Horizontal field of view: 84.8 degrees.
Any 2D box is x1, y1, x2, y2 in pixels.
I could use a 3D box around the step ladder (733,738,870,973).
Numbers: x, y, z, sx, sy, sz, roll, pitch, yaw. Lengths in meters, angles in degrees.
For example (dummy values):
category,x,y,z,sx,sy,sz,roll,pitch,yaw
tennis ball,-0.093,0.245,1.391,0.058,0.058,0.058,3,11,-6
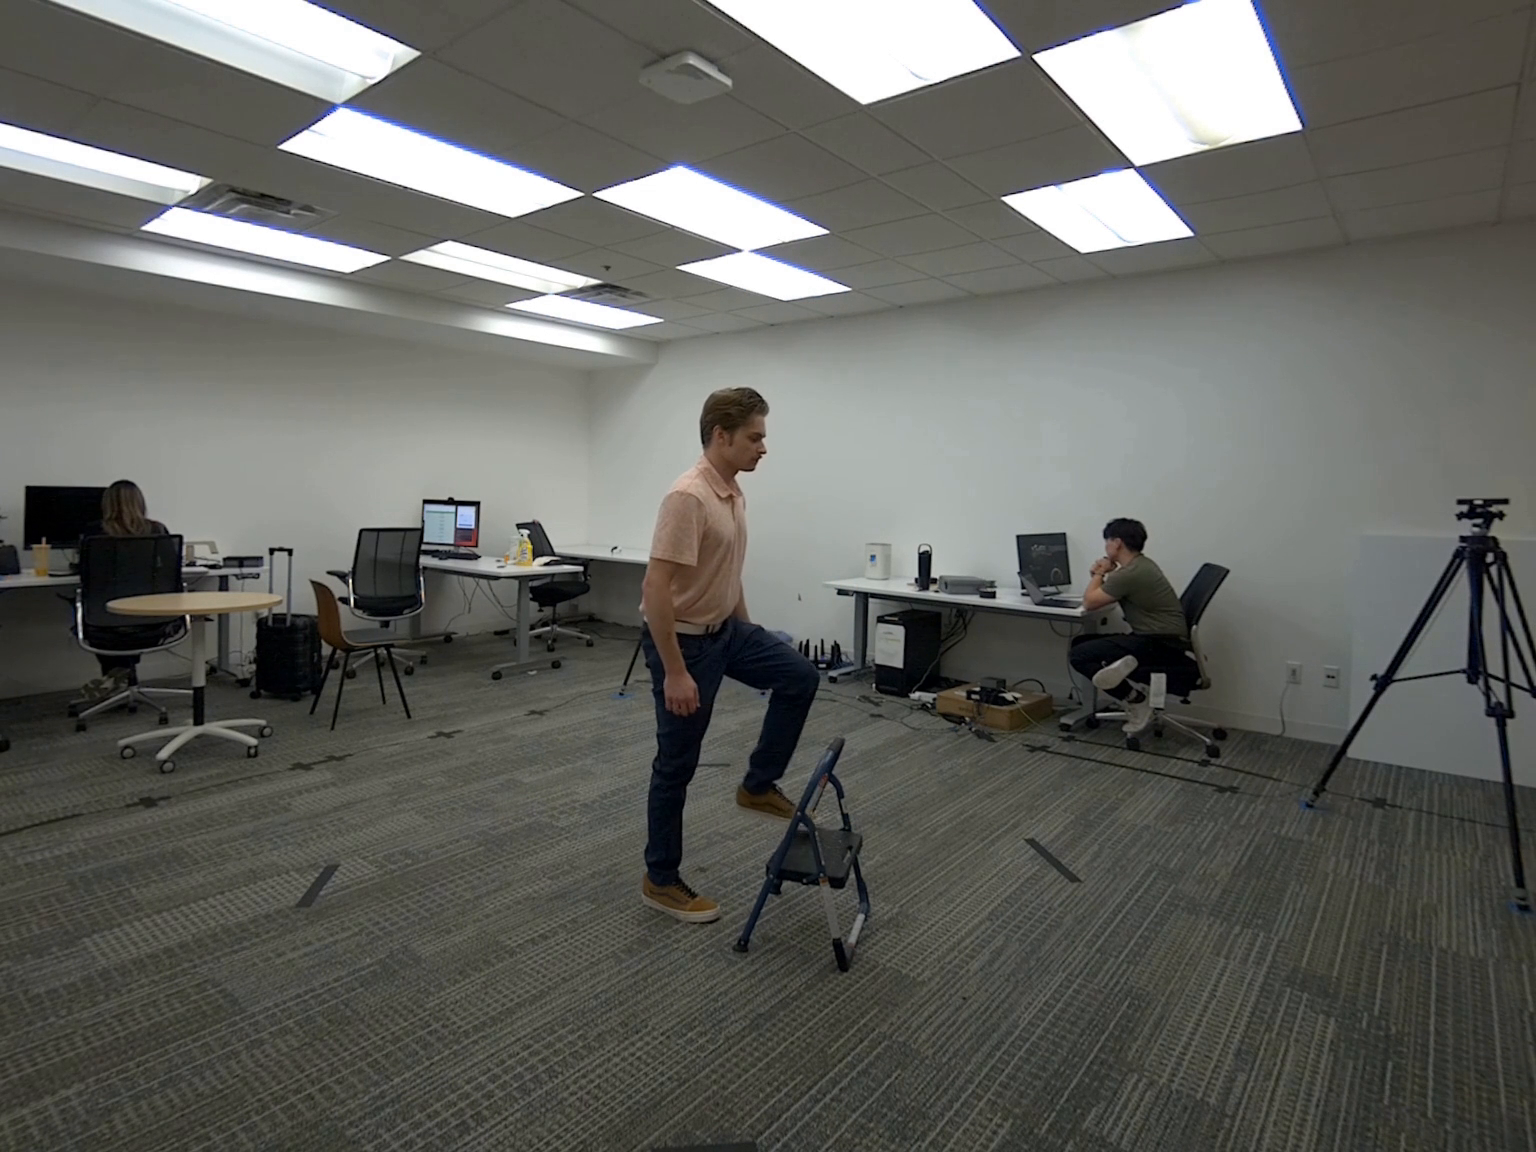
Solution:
category,x,y,z,sx,sy,sz,roll,pitch,yaw
step ladder,0.124,0.817,2.684,0.356,0.604,0.424,3,4,17
